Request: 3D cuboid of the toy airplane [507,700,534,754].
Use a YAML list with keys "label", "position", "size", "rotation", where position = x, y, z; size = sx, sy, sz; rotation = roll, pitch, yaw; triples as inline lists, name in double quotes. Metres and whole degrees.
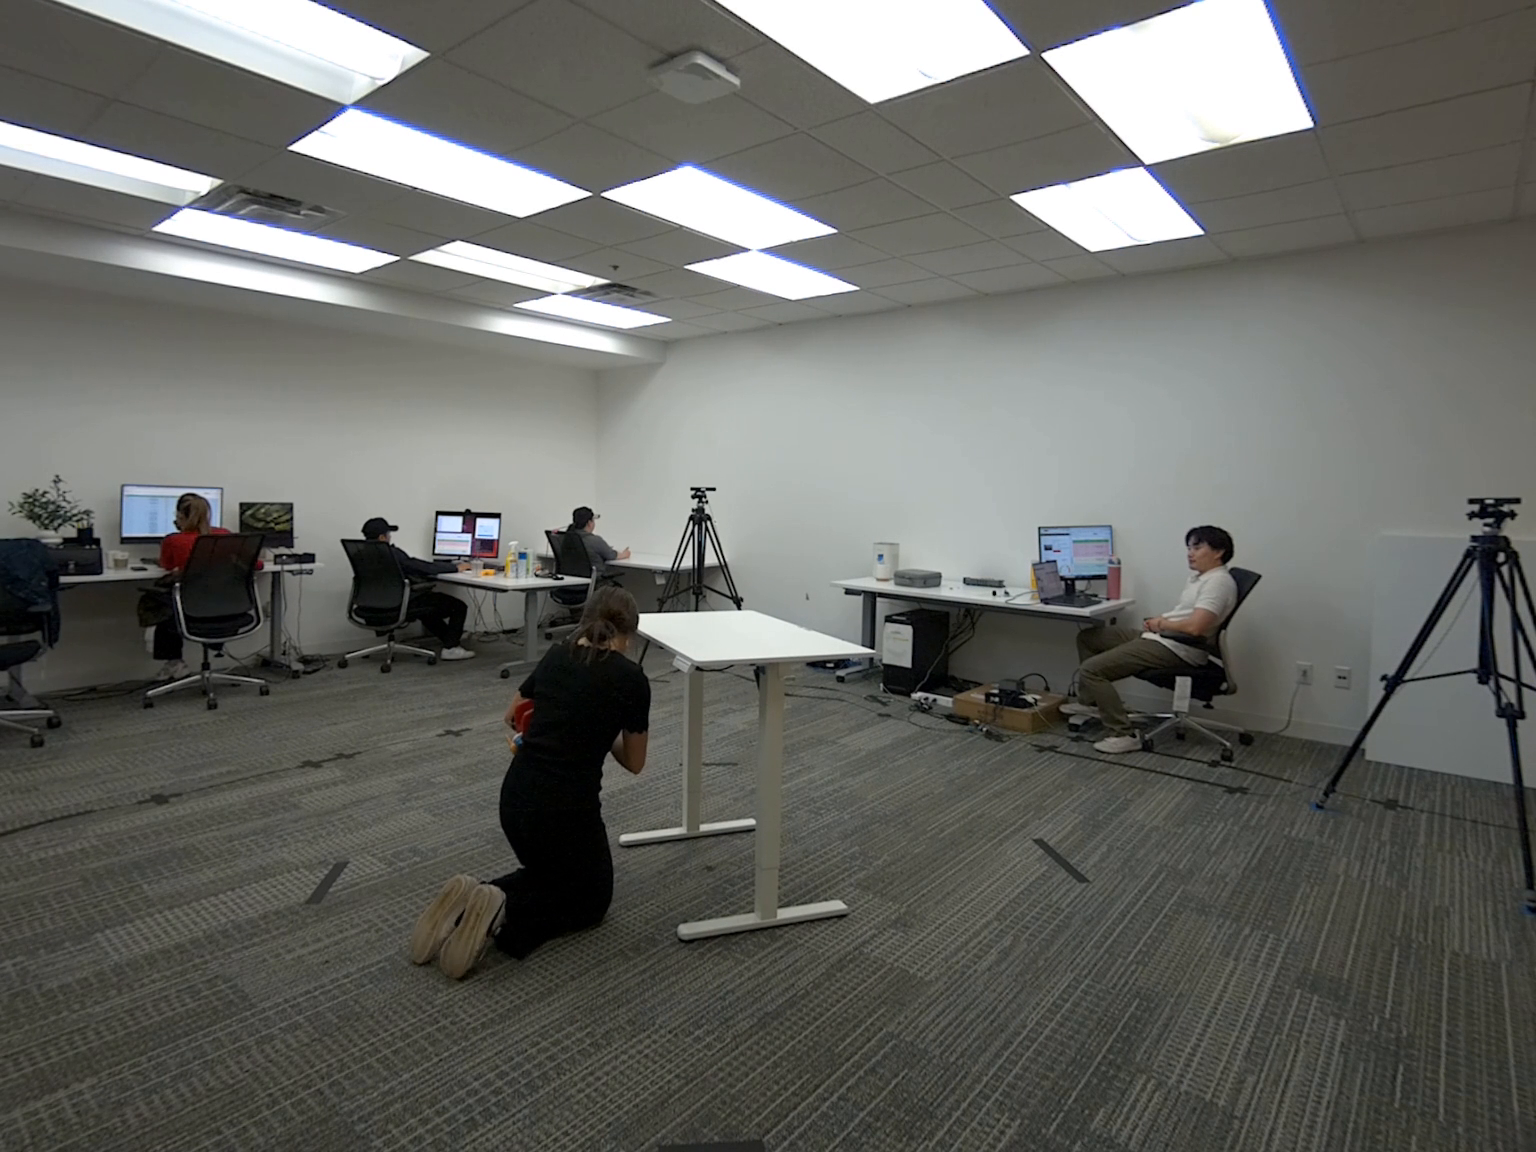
- label: "toy airplane"
  position: [-0.747, 0.487, 2.789]
  size: [0.242, 0.259, 0.162]
  rotation: [46, -1, -29]
